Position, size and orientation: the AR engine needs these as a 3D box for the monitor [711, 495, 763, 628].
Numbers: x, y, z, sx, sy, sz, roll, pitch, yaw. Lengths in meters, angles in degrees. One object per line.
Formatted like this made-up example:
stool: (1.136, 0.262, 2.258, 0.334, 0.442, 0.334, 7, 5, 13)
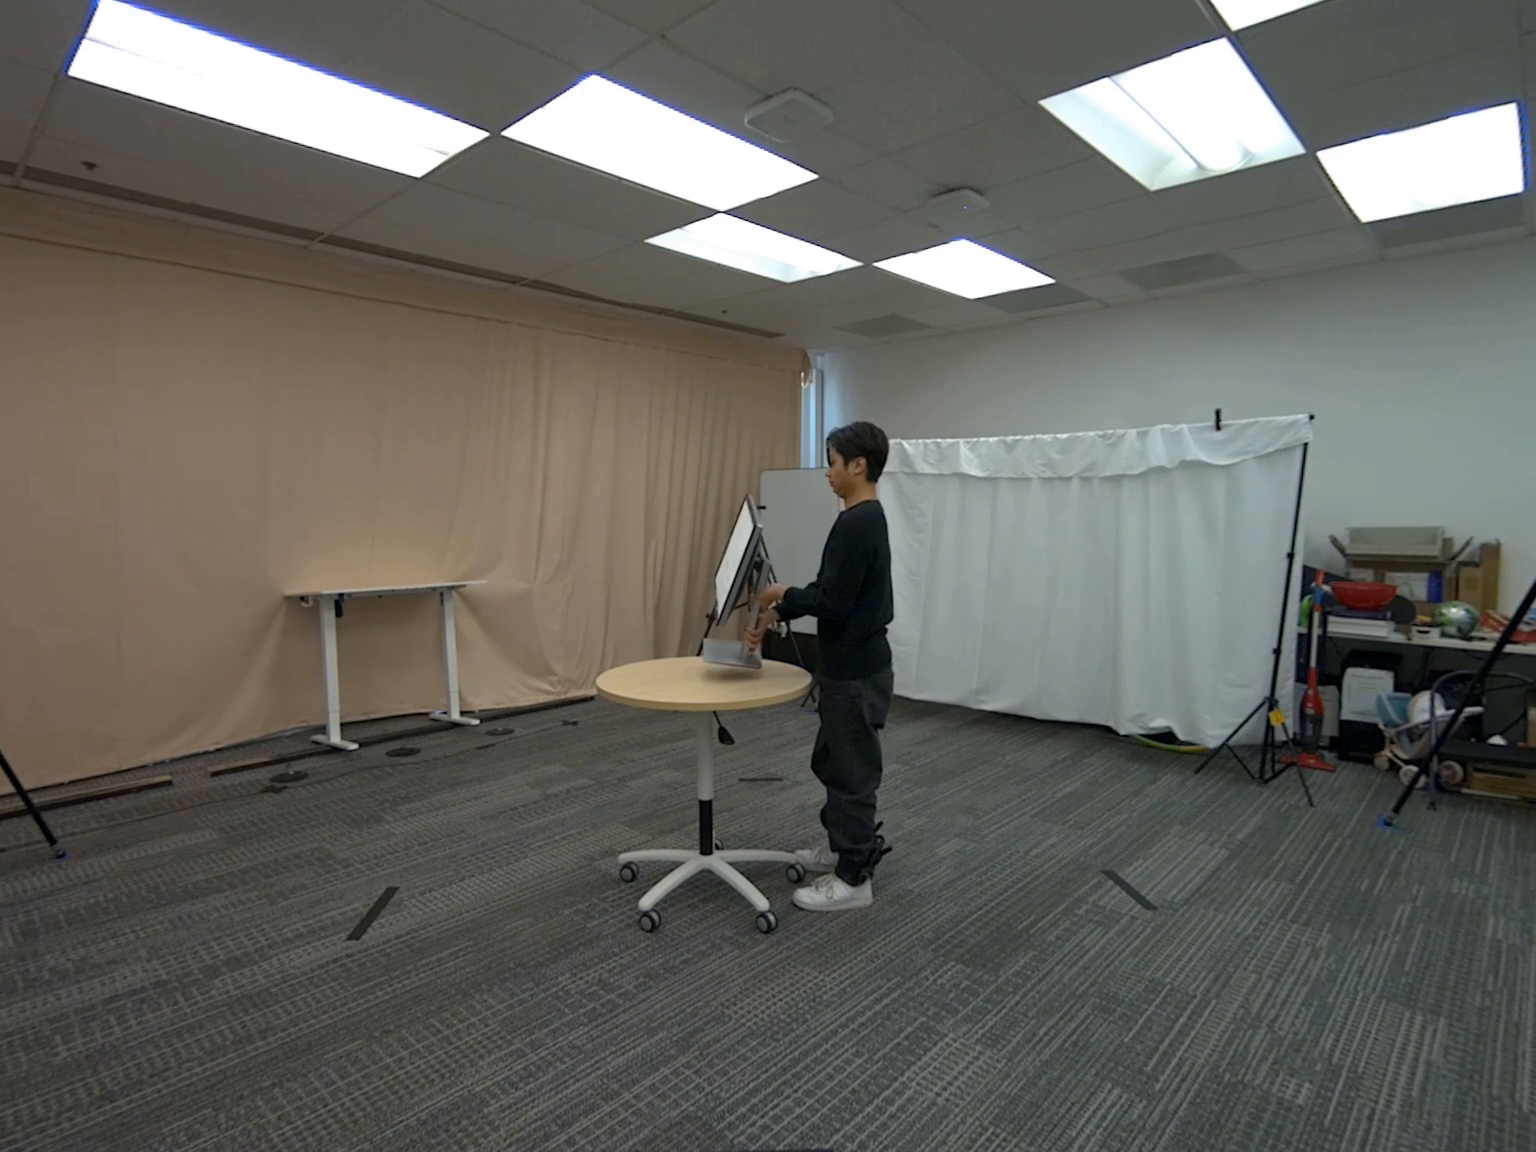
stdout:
monitor: (-0.087, 0.035, 2.976, 0.186, 0.519, 0.546, 7, 13, -7)
